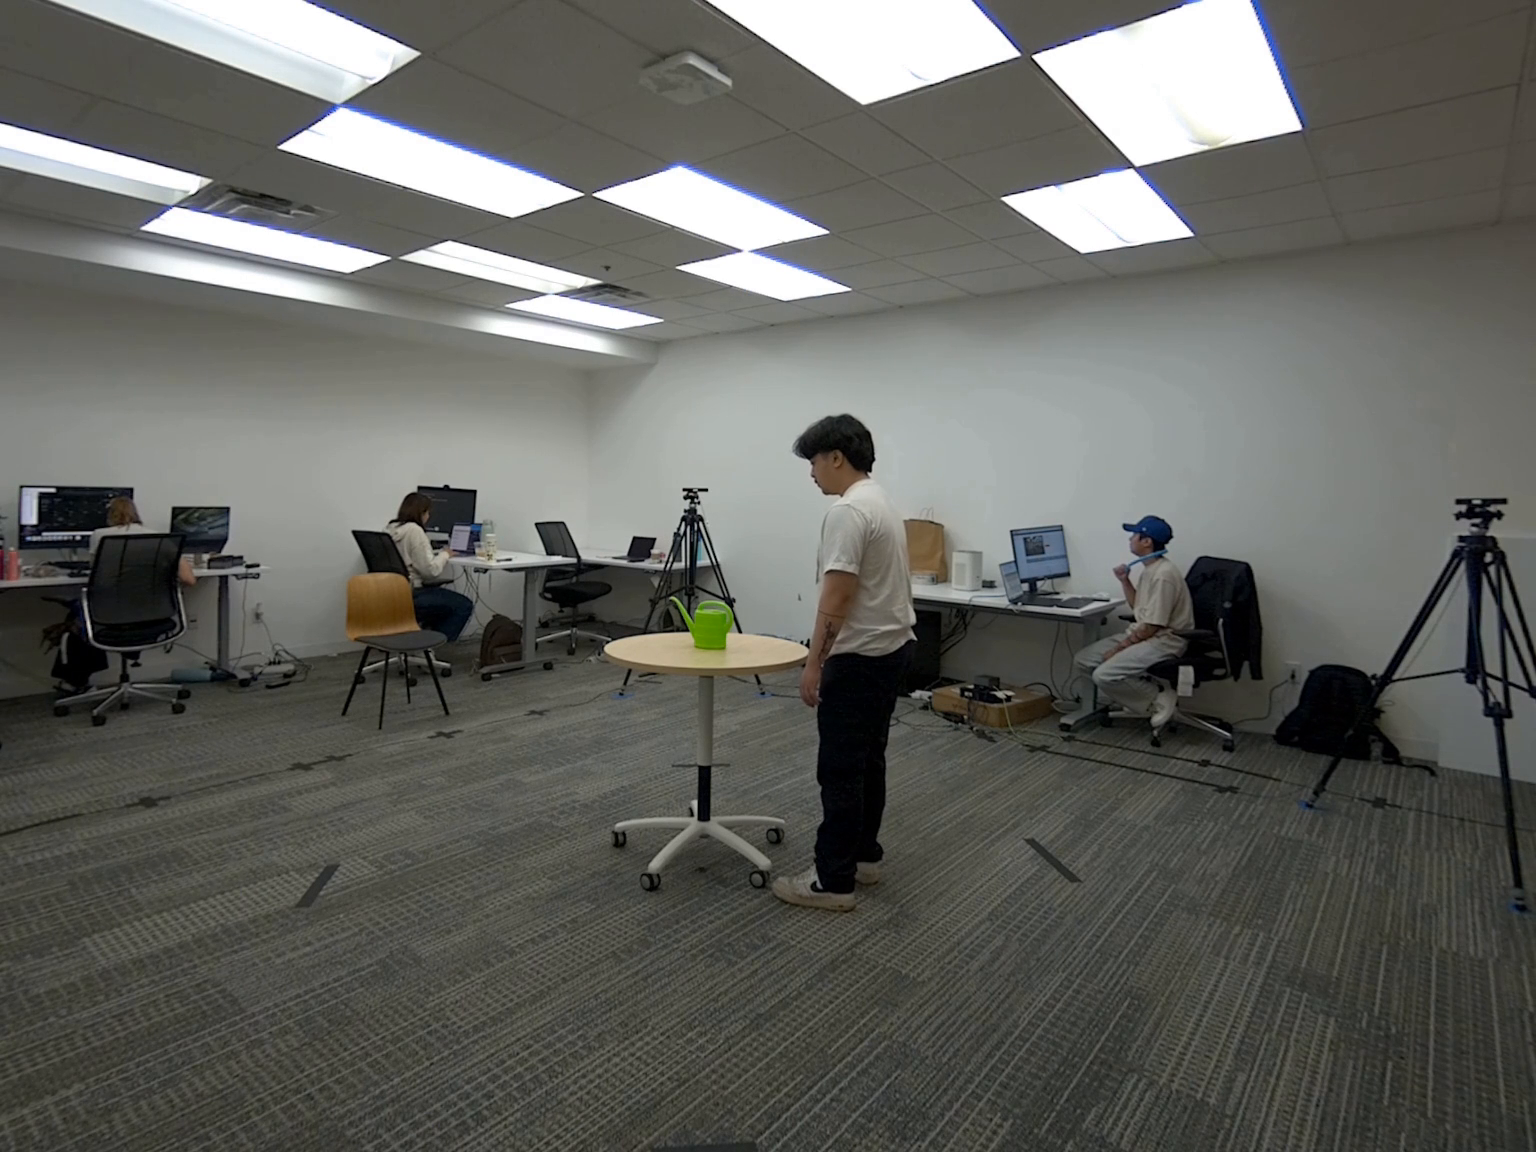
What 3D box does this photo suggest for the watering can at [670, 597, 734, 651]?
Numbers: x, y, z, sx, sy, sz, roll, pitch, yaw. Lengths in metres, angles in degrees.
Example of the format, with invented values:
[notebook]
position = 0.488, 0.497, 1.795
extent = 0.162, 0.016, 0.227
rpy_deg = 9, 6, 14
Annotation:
[watering can]
position = -0.263, 0.177, 3.250
extent = 0.288, 0.176, 0.095
rpy_deg = 6, 3, 37
